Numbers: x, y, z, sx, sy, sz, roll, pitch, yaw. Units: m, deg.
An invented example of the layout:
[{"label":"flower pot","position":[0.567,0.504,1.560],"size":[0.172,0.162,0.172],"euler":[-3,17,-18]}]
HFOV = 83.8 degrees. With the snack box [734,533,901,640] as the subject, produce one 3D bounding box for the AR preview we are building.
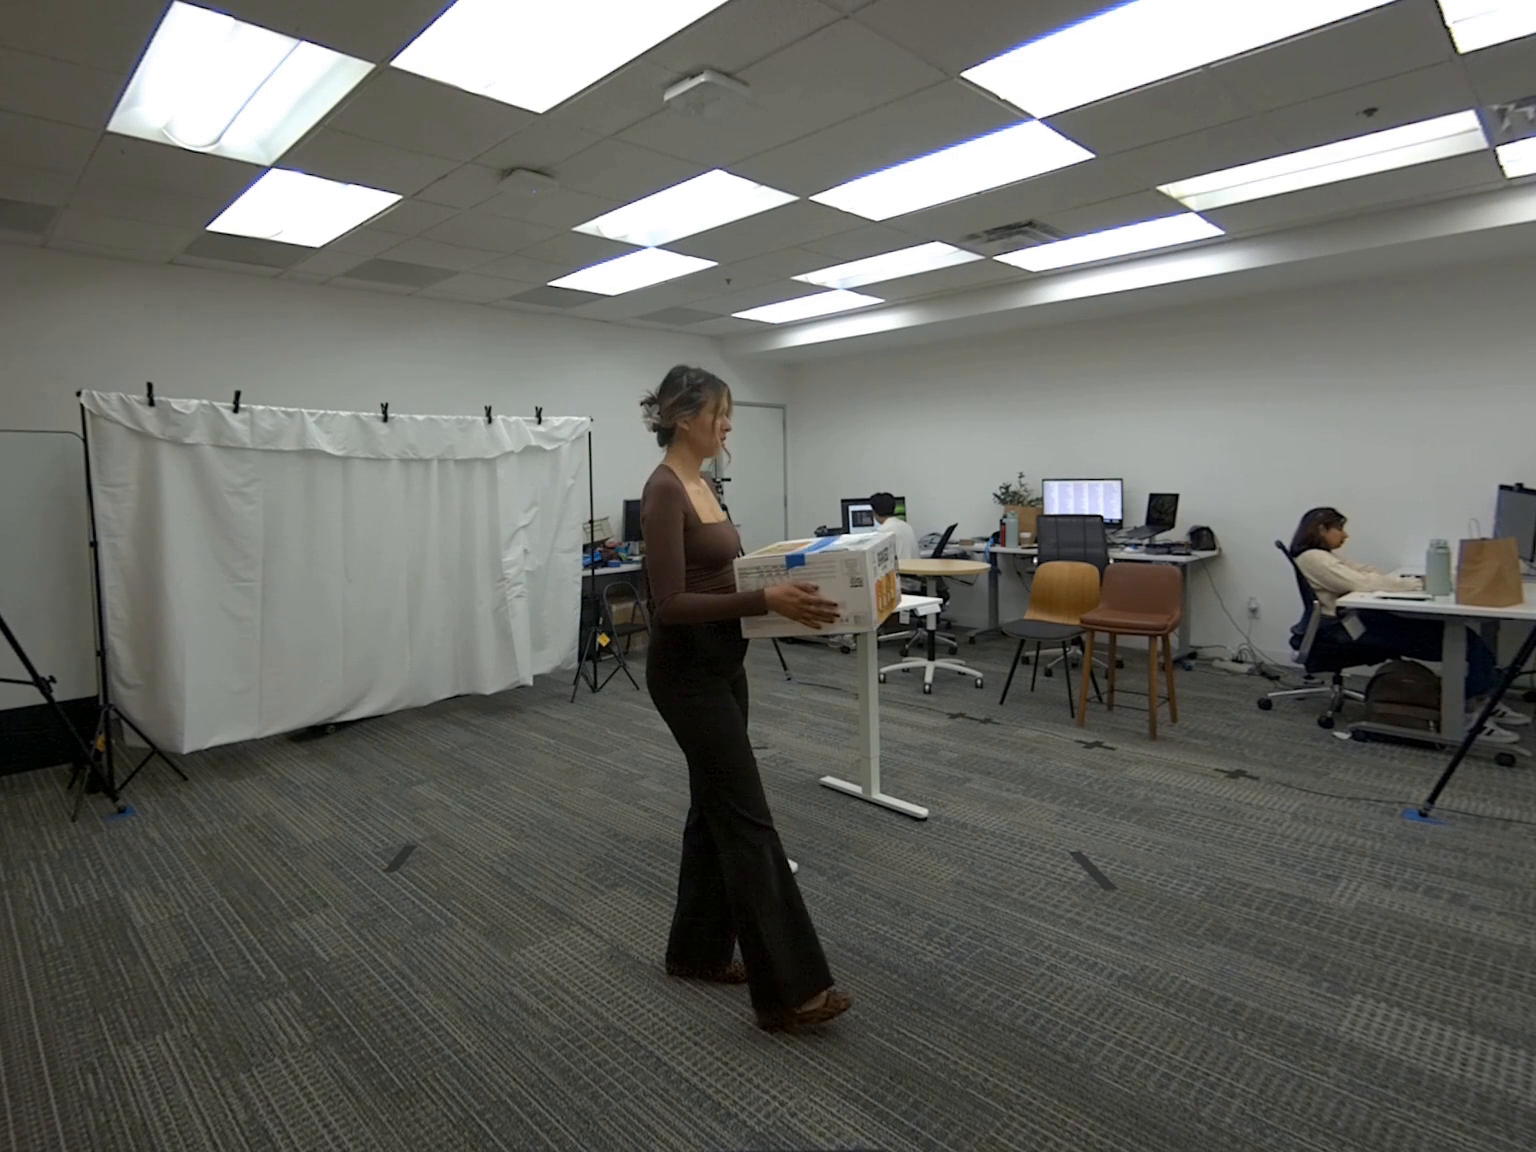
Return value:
[{"label":"snack box","position":[0.139,0.019,2.270],"size":[0.346,0.204,0.400],"euler":[-5,7,21]}]
